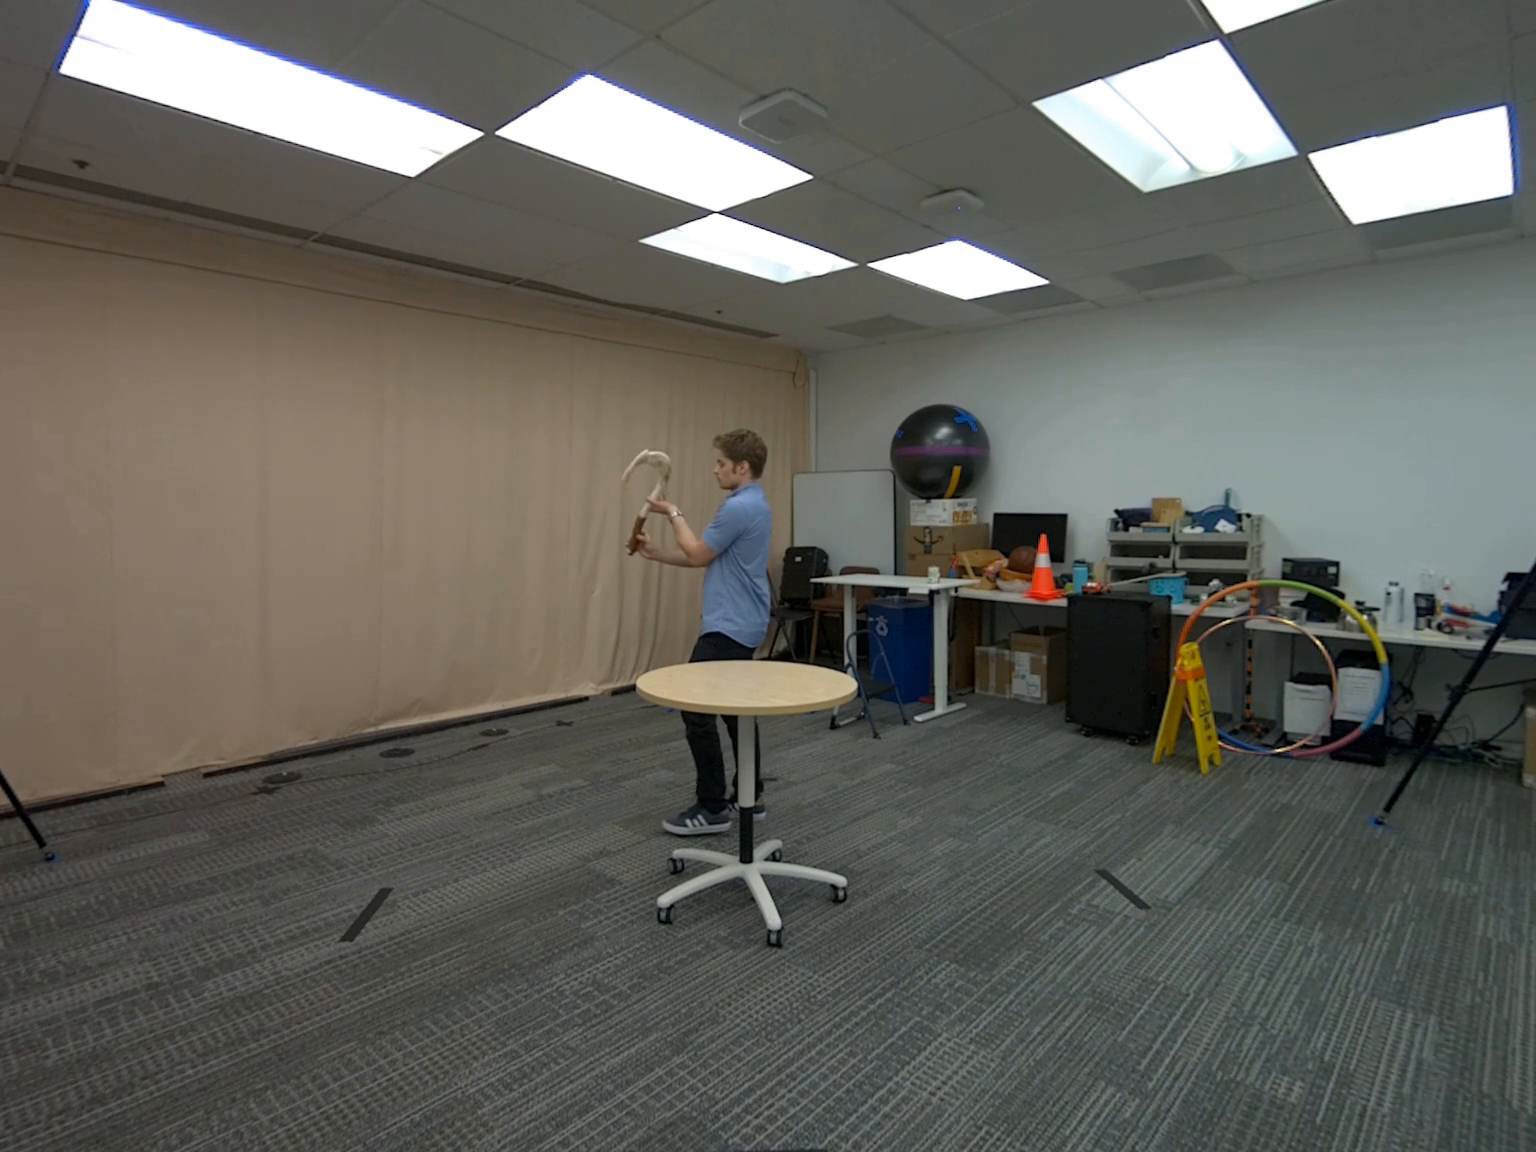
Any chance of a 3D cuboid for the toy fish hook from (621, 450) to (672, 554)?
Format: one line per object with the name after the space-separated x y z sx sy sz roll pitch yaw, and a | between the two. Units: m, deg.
-0.574 -0.314 3.711 0.217 0.505 0.050 10 23 -33 | toy fish hook
